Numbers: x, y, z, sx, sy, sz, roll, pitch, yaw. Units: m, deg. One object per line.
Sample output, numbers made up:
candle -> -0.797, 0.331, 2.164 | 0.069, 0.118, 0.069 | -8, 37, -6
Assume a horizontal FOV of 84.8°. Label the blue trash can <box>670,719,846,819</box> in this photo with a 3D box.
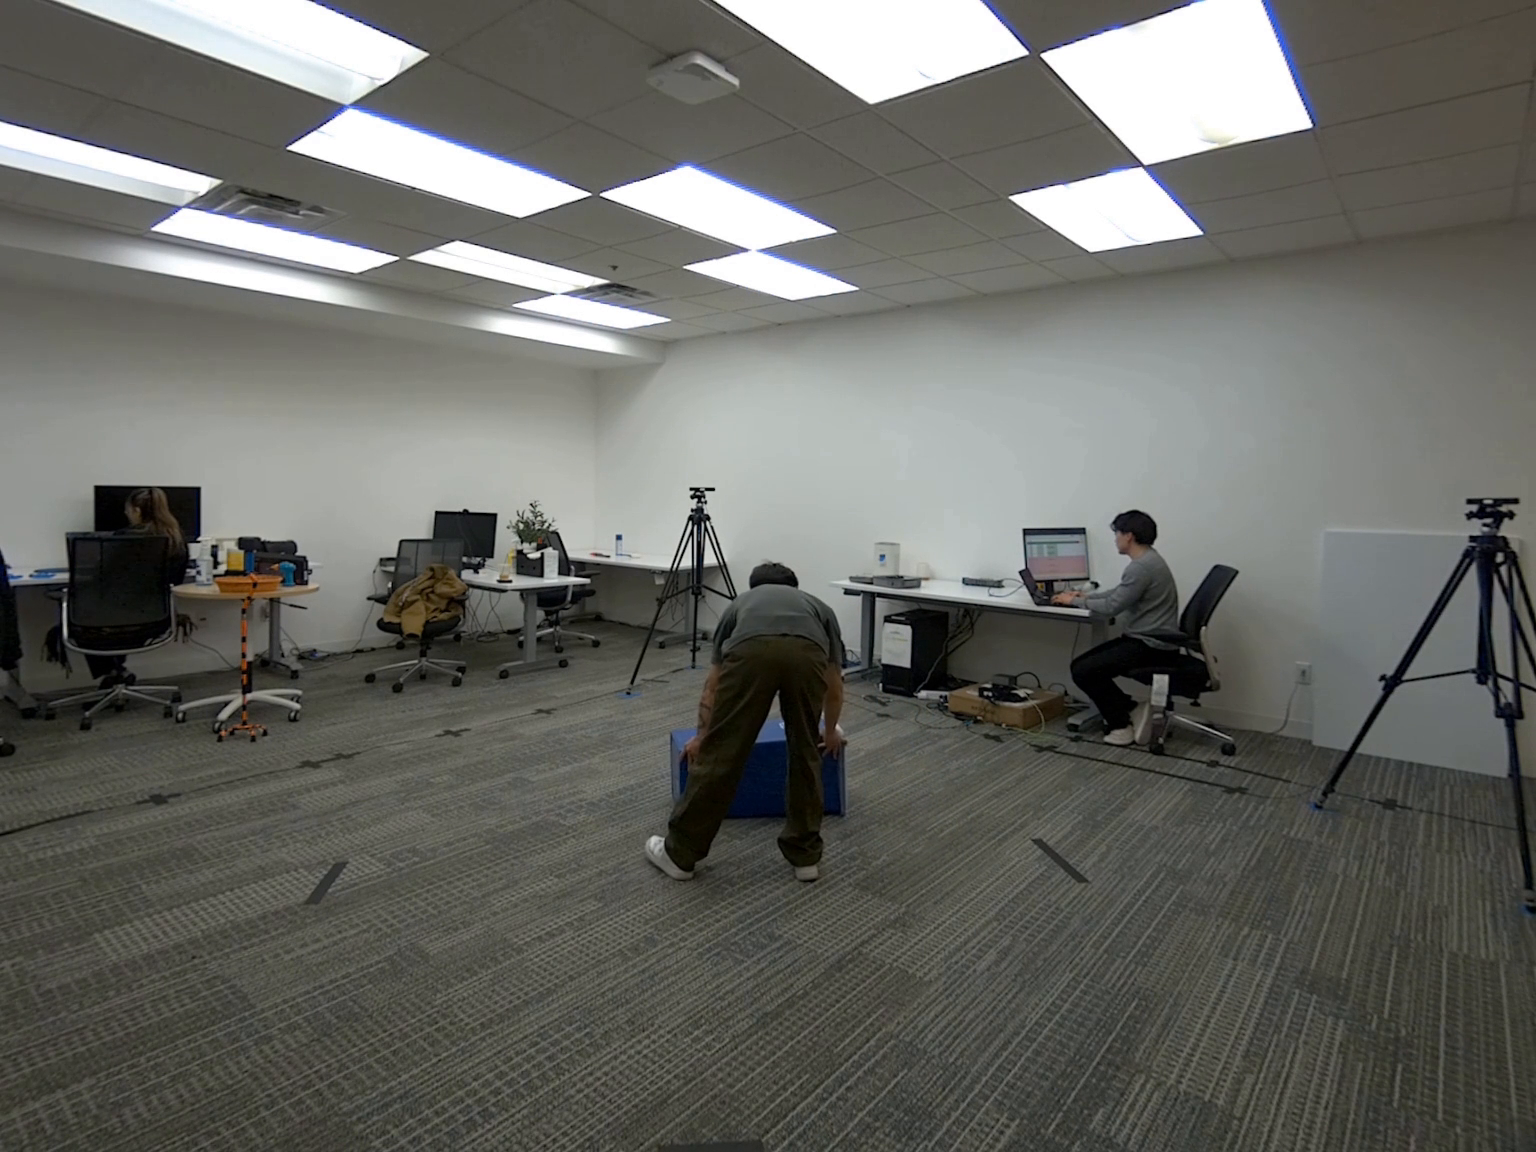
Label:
blue trash can -> -0.067, 0.832, 3.737 | 0.705, 0.372, 0.385 | -2, 6, -12
